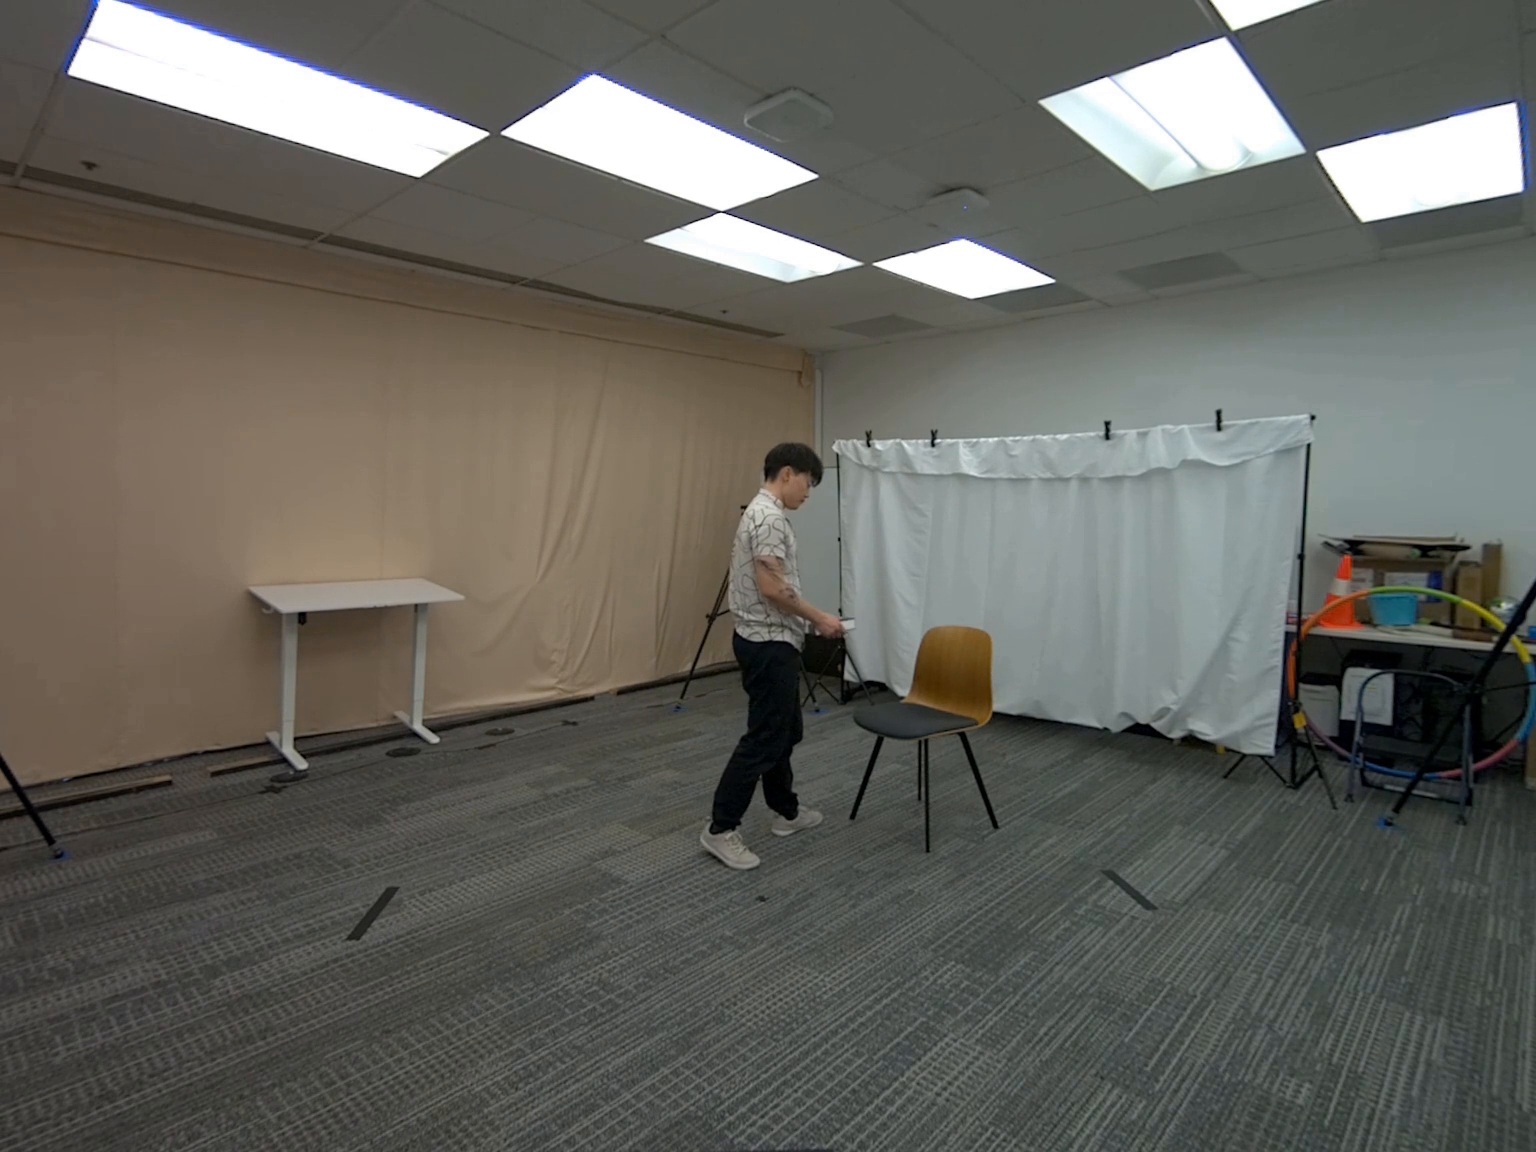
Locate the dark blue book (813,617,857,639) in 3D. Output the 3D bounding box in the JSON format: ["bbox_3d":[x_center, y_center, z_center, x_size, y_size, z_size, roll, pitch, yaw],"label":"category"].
[{"bbox_3d":[0.269,0.207,3.411,0.165,0.045,0.242,-10,-2,7],"label":"dark blue book"}]
